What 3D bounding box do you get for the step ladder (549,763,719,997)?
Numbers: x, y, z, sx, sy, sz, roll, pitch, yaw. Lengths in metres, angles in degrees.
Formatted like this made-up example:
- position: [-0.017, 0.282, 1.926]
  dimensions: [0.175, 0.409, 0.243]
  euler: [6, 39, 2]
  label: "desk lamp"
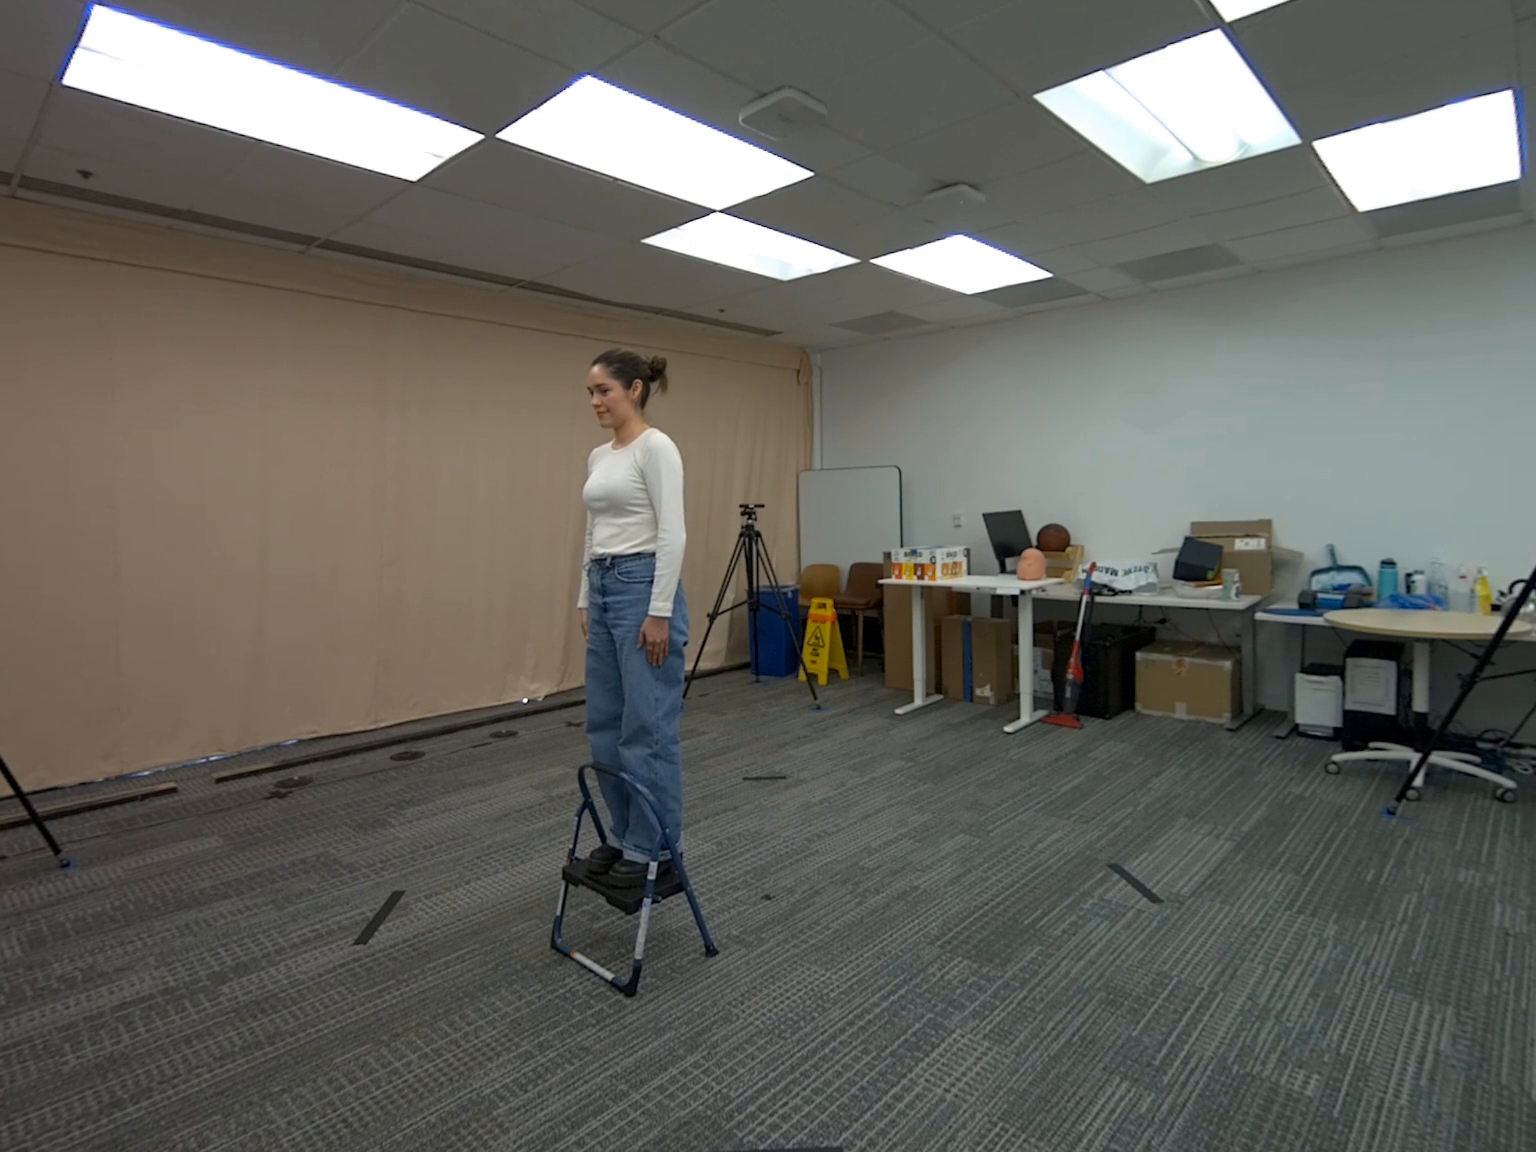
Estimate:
- position: [-0.431, 0.876, 2.637]
  dimensions: [0.445, 0.605, 0.339]
  euler: [2, 4, 43]
  label: "step ladder"
